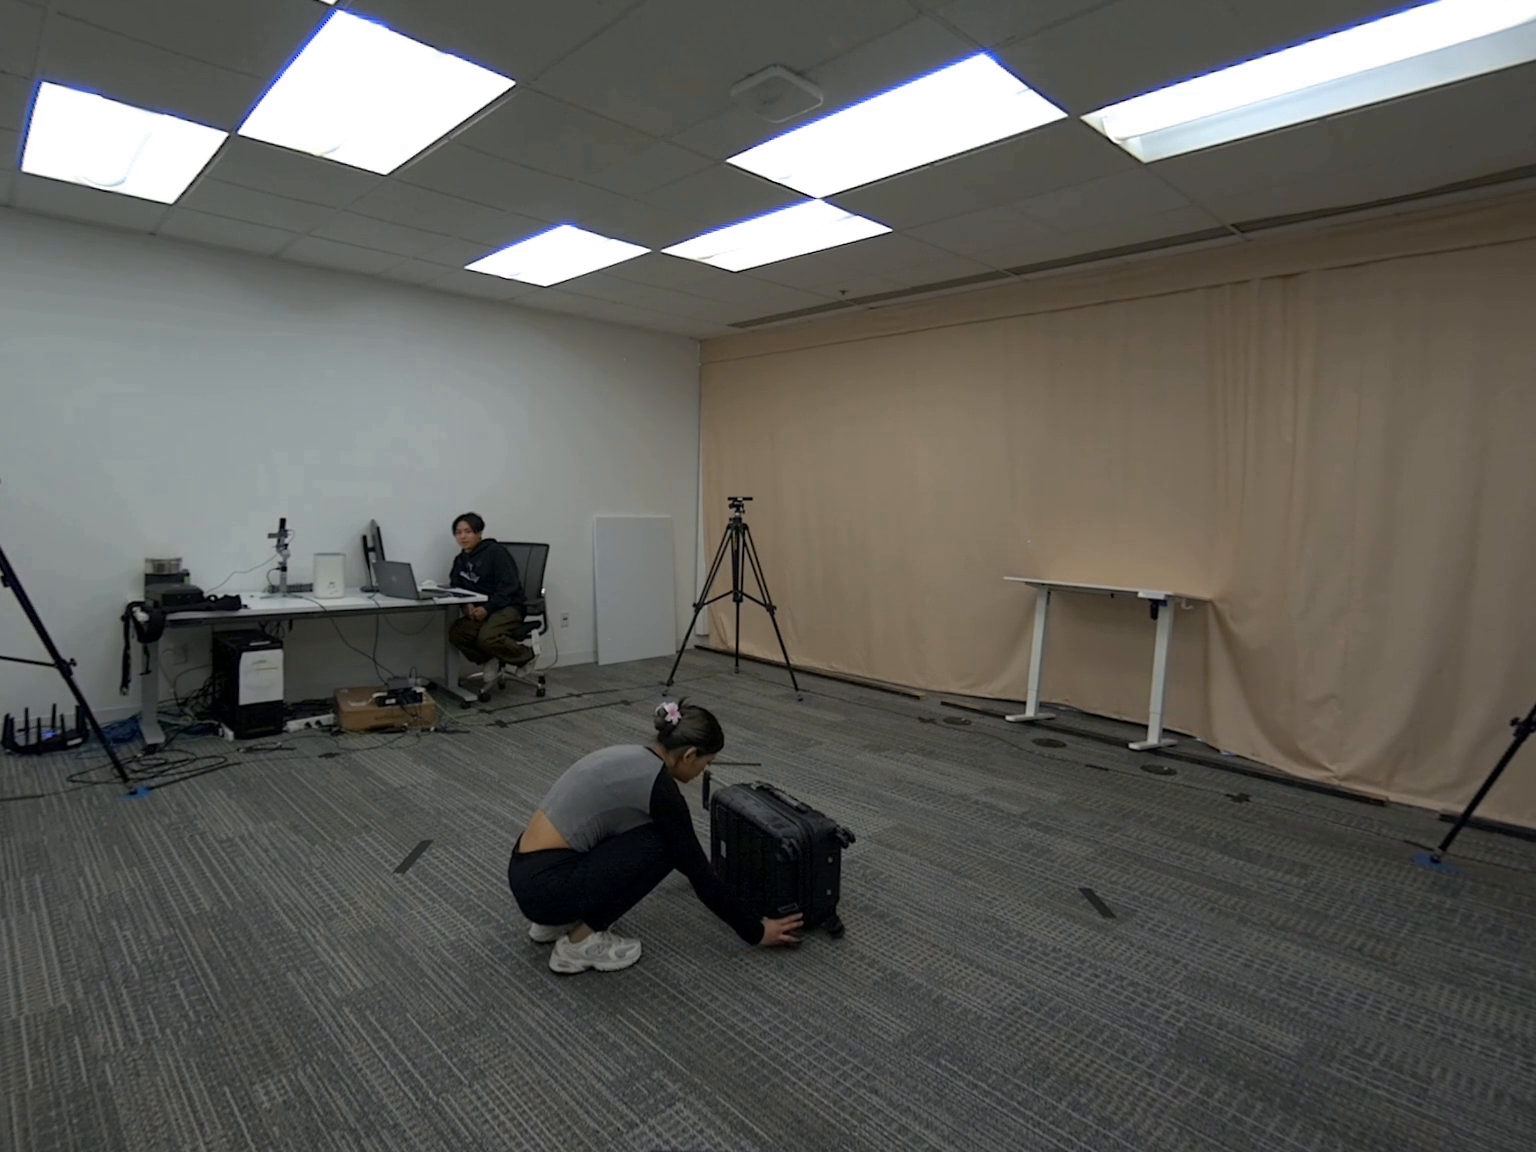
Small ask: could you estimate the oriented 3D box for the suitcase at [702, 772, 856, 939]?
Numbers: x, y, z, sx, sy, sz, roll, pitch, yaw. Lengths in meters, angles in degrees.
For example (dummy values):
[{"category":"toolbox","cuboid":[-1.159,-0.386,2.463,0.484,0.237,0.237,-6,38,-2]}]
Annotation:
[{"category":"suitcase","cuboid":[-0.100,0.924,3.038,0.252,0.383,1.002,0,5,-31]}]
